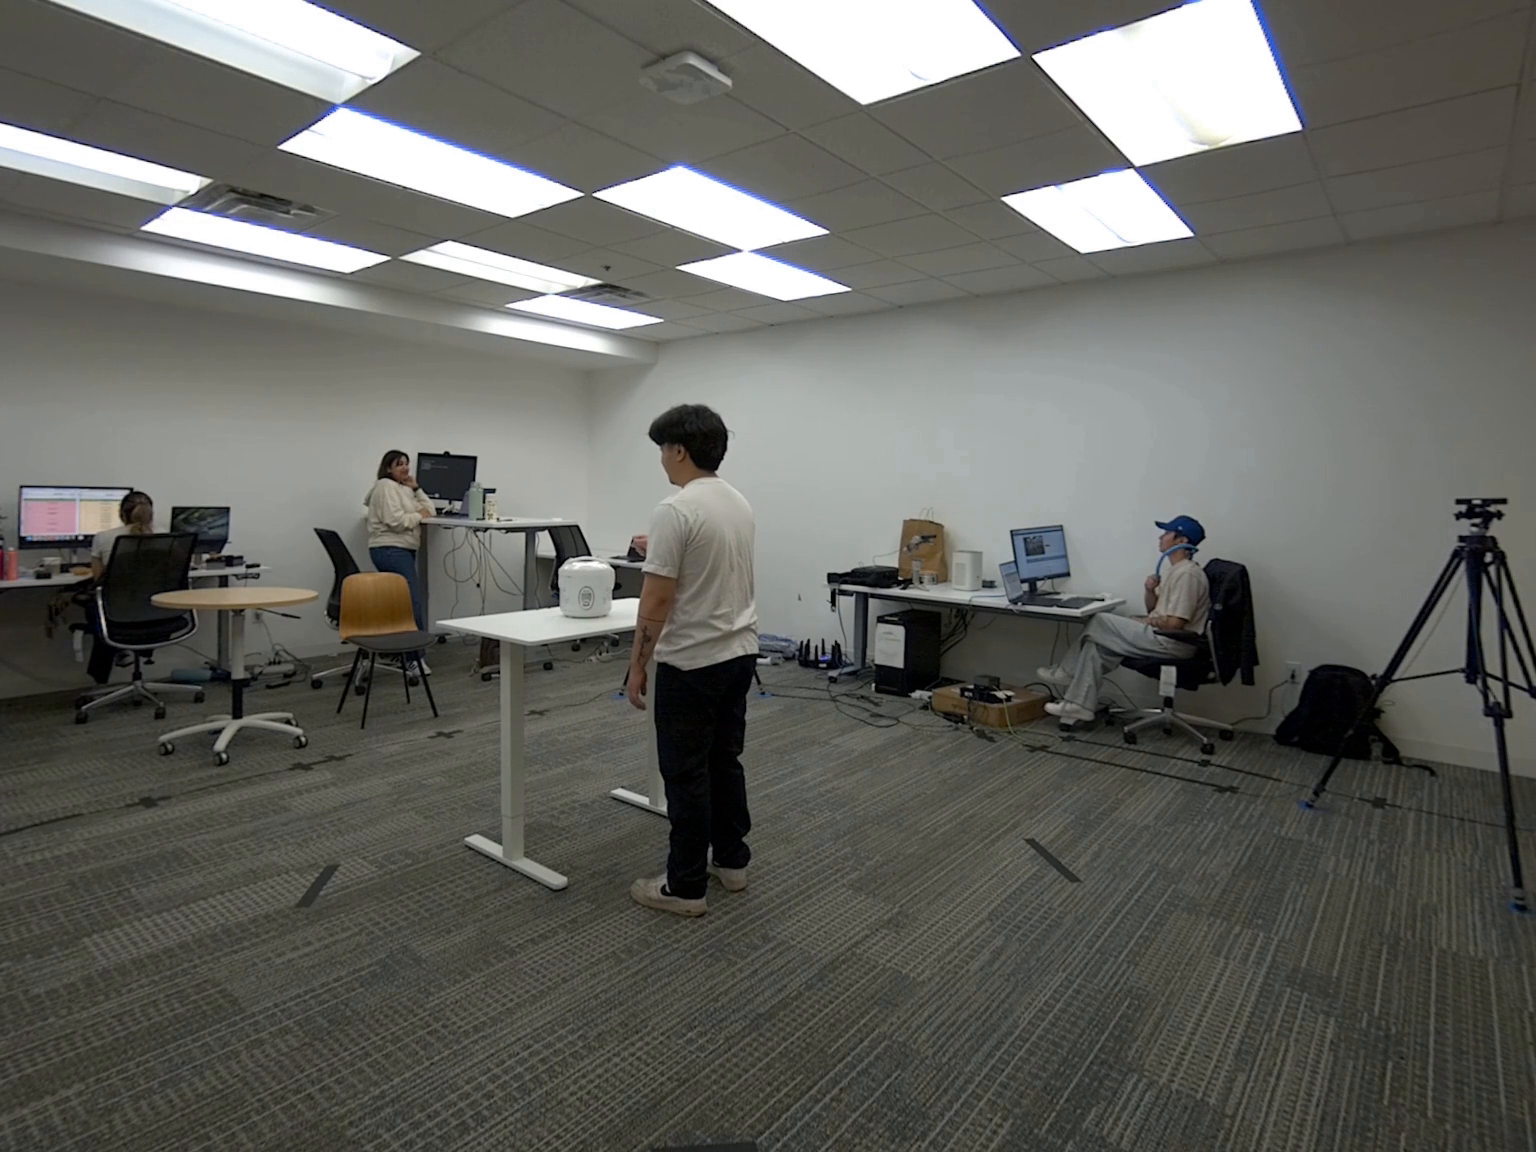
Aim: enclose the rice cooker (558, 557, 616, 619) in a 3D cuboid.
[{"bbox_3d":[-0.732,0.038,3.367,0.218,0.232,0.220,-1,4,-10],"label":"rice cooker"}]
